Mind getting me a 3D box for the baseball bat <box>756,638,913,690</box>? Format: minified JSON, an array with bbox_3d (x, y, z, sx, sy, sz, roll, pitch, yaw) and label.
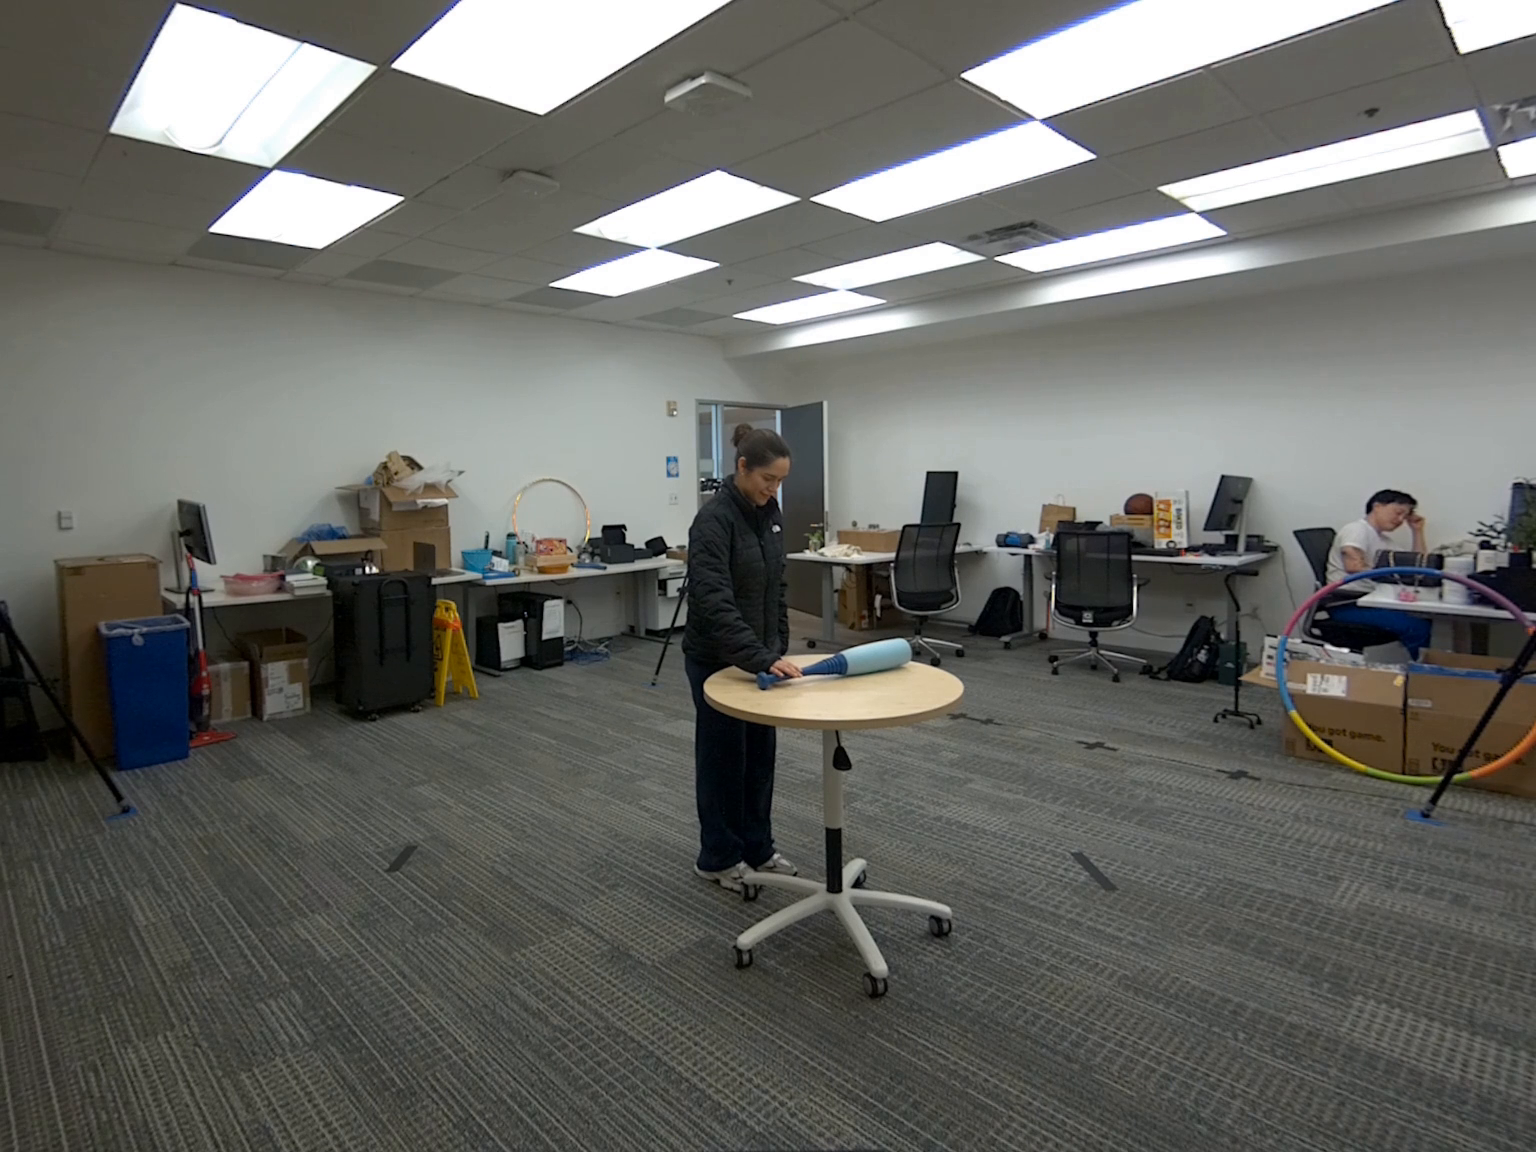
[{"bbox_3d":[0.201,0.273,2.634,0.531,0.088,0.091,-9,8,-29],"label":"baseball bat"}]
